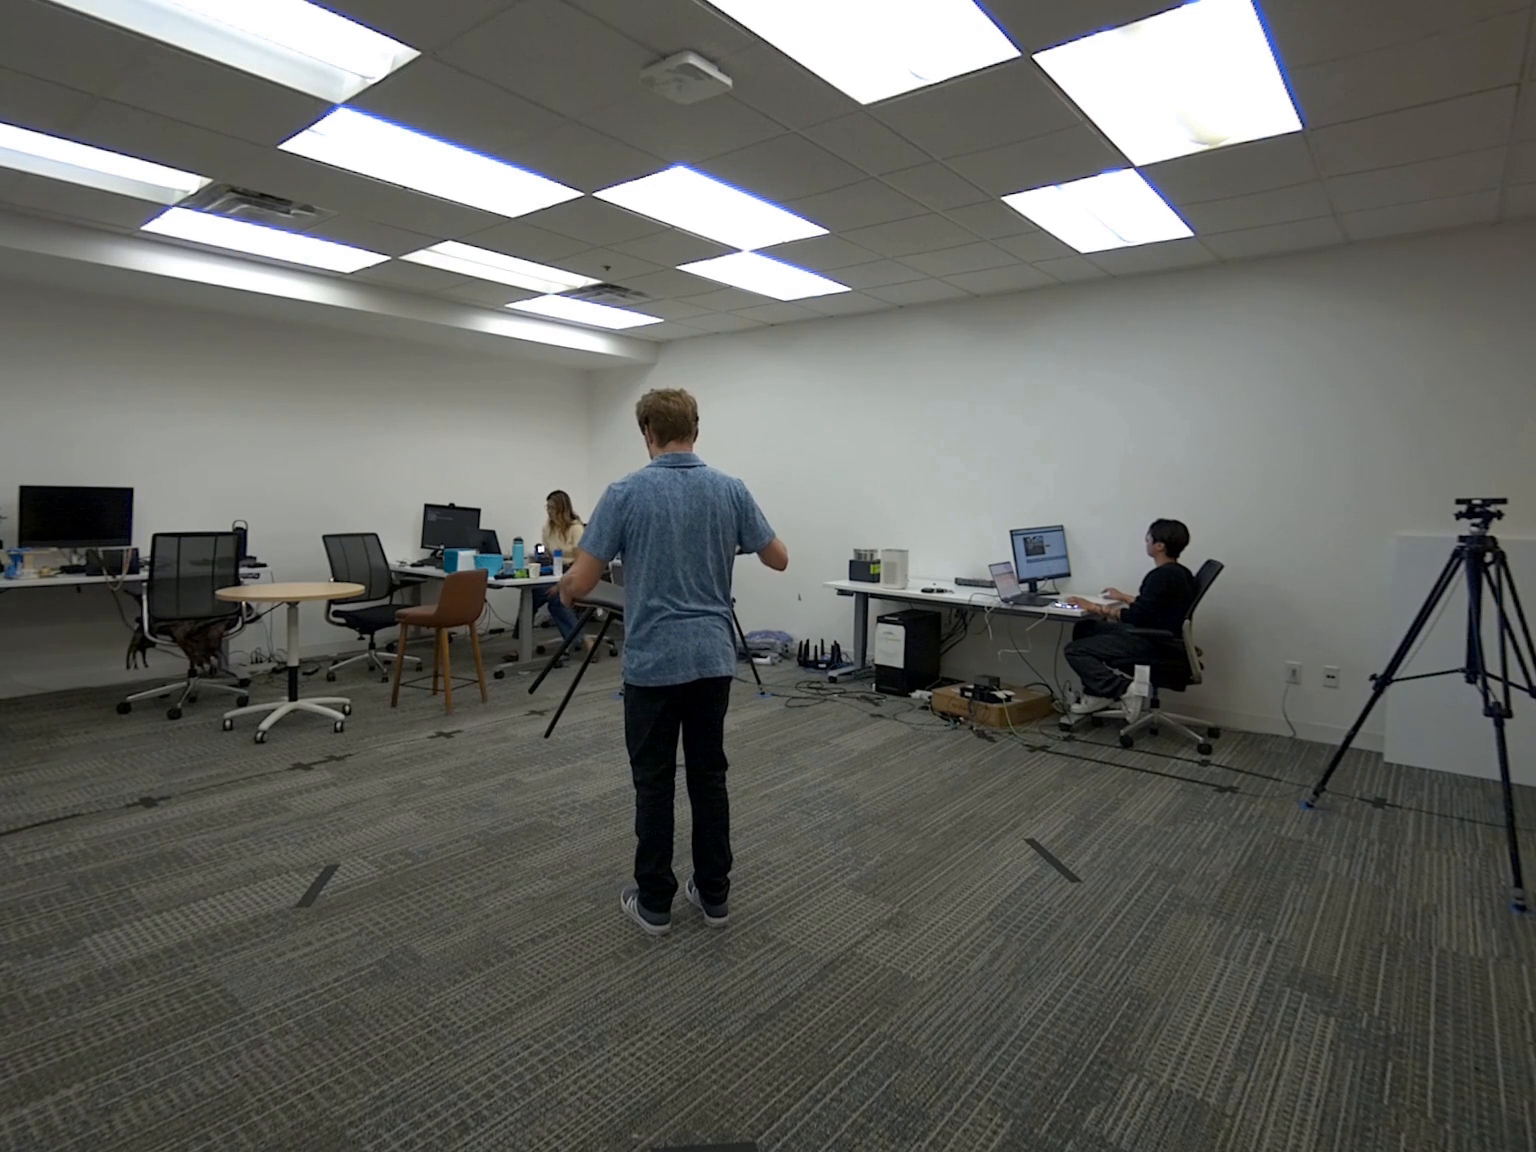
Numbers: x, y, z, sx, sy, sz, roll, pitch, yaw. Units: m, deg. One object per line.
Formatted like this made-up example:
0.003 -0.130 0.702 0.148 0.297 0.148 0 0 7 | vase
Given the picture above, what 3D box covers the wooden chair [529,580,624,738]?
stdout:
-0.508 0.158 3.078 0.508 0.877 0.492 24 1 -24 | wooden chair
